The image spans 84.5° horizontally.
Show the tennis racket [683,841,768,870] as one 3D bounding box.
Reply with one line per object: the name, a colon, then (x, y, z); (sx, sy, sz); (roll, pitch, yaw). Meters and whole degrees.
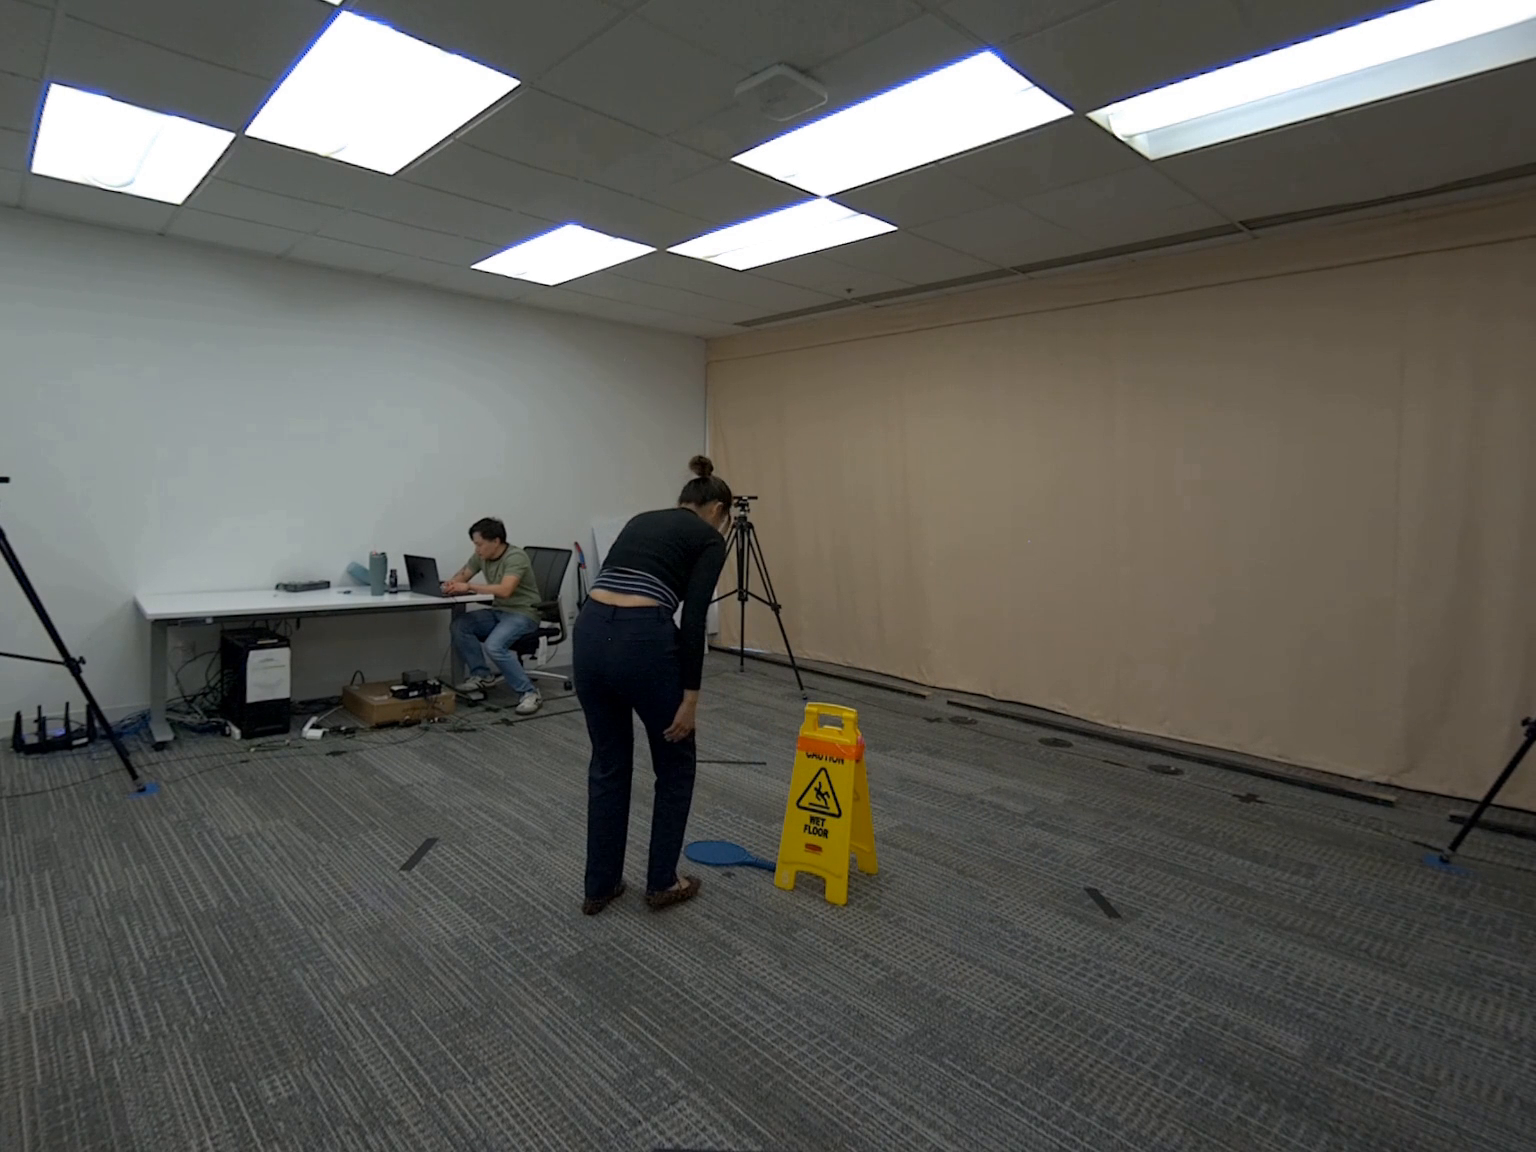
tennis racket: (-0.137, 1.073, 3.237); (0.442, 0.032, 0.209); (2, 5, 32)
